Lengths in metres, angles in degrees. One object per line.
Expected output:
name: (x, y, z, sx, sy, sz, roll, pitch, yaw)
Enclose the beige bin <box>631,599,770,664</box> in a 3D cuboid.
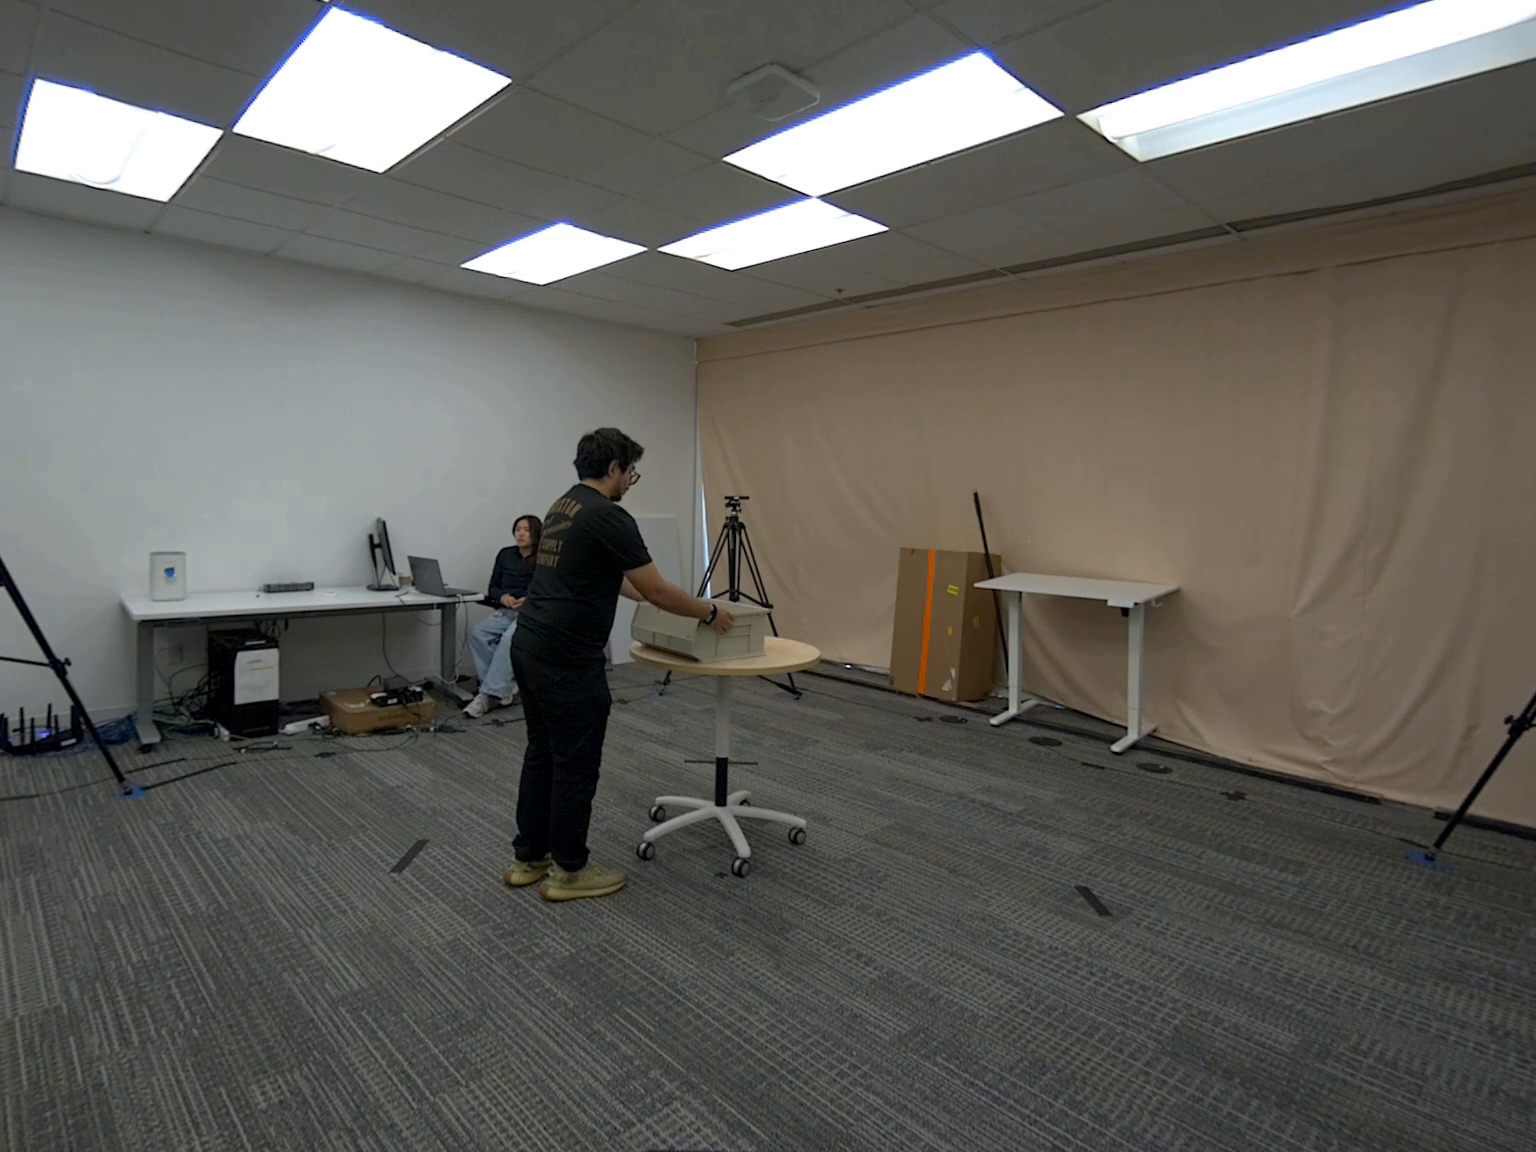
beige bin: (-0.273, 0.211, 3.325, 0.368, 0.189, 0.433, 0, 4, -41)
